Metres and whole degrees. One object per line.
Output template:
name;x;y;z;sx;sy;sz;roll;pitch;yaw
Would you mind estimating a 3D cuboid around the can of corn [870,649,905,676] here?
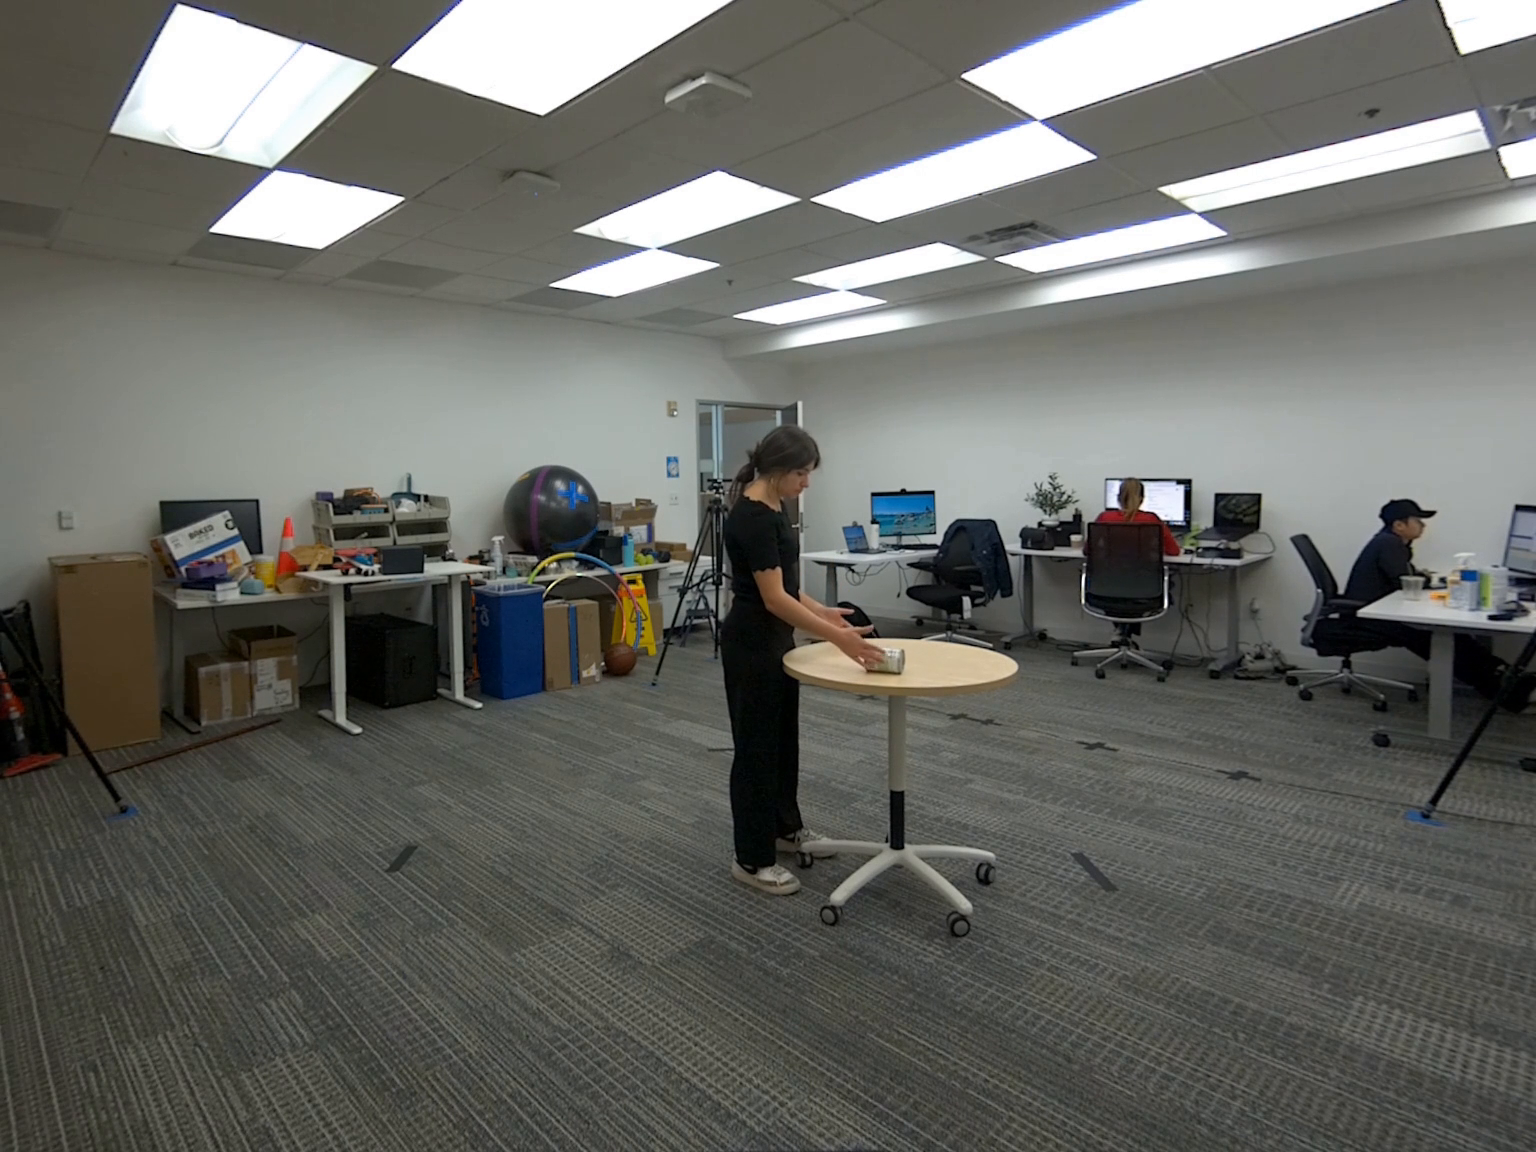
can of corn;0.375;0.263;2.673;0.113;0.074;0.073;0;5;22
